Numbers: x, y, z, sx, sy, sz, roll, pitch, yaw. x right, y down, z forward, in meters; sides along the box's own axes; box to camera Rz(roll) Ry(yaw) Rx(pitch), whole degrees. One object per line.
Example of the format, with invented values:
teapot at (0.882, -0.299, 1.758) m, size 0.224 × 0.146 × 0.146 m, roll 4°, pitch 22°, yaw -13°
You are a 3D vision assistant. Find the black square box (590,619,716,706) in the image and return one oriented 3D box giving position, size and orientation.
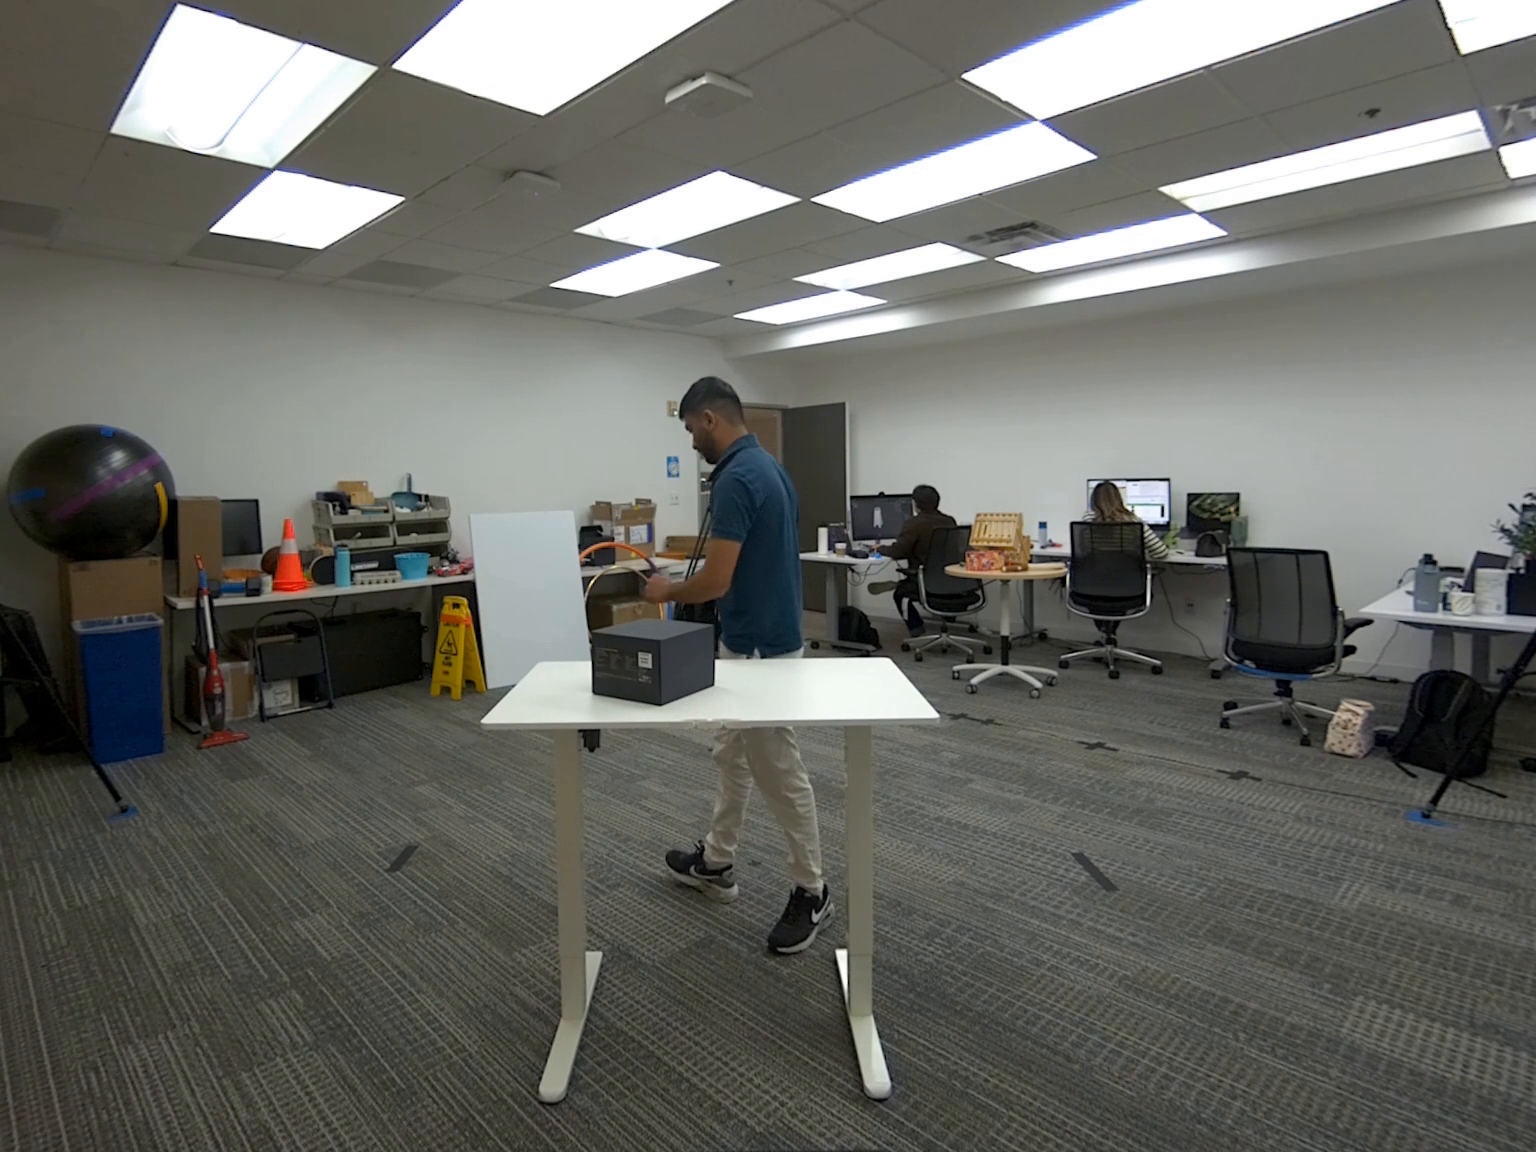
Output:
black square box at (-0.286, 0.205, 2.112) m, size 0.223 × 0.155 × 0.223 m, roll 3°, pitch 7°, yaw 32°
